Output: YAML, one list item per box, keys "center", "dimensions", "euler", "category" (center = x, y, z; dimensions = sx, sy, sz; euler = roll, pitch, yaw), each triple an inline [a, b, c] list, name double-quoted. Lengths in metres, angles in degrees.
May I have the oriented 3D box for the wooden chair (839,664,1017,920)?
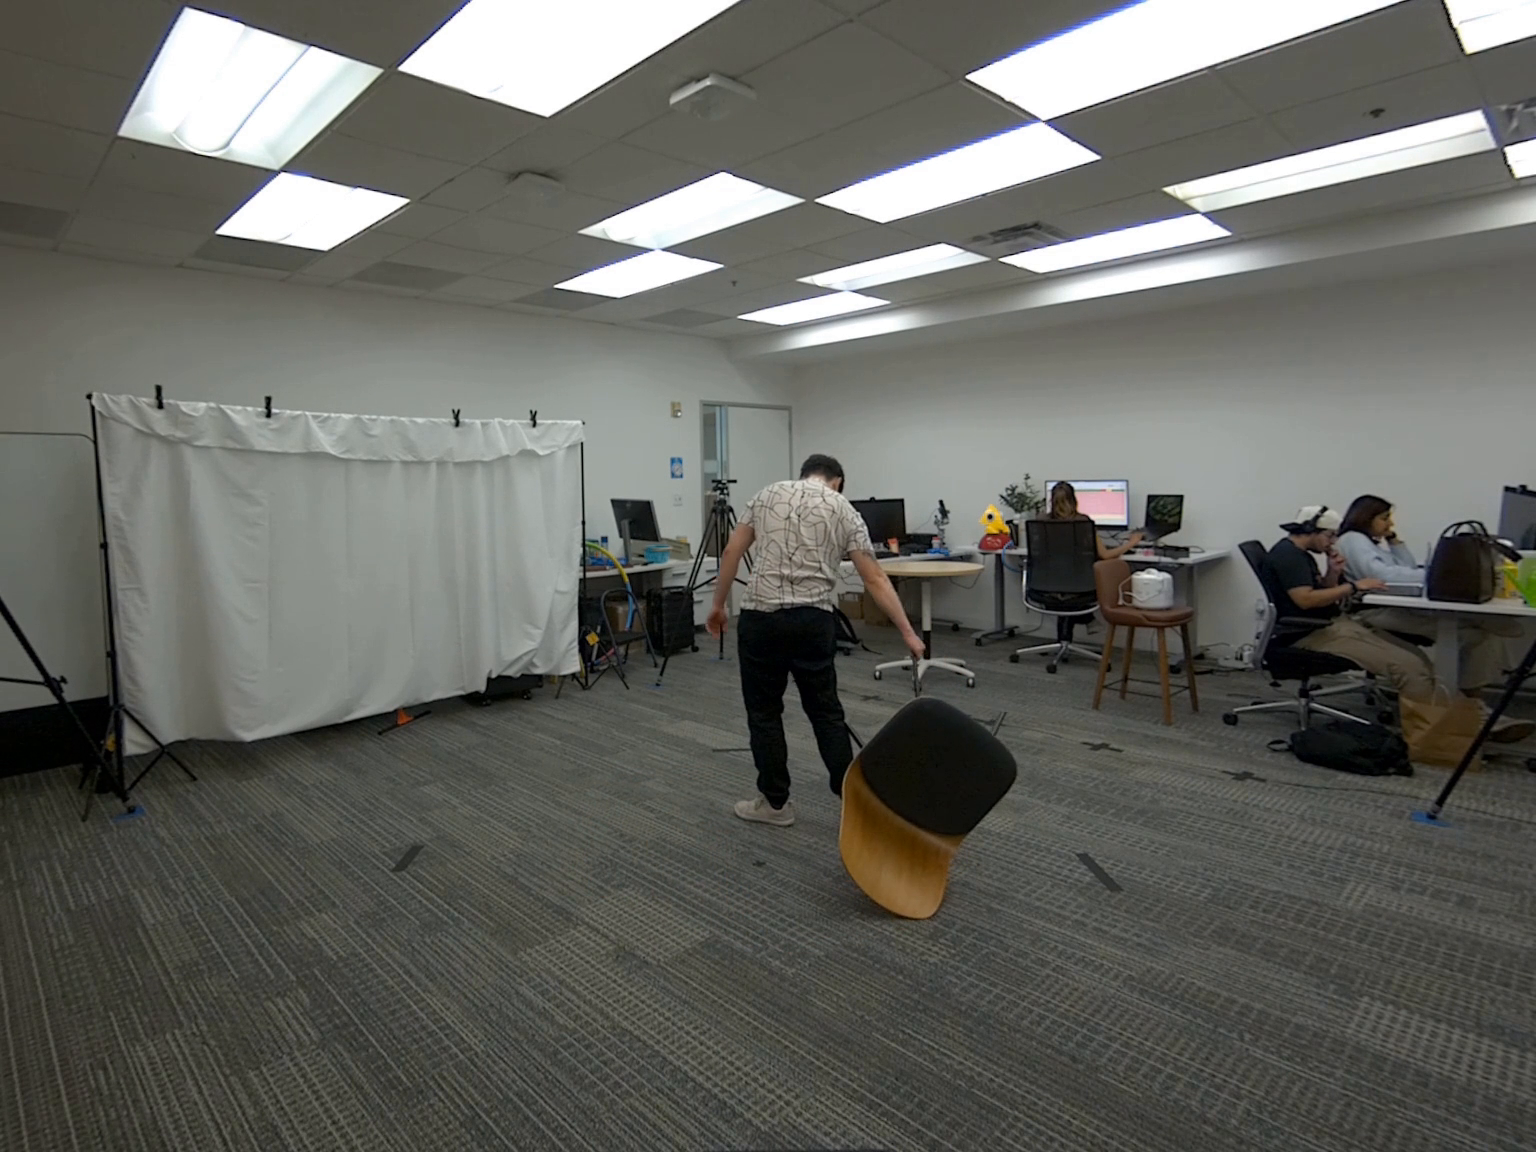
- center: [0.565, 0.695, 3.000]
  dimensions: [0.478, 0.521, 0.880]
  euler: [36, 23, -2]
  category: "wooden chair"
